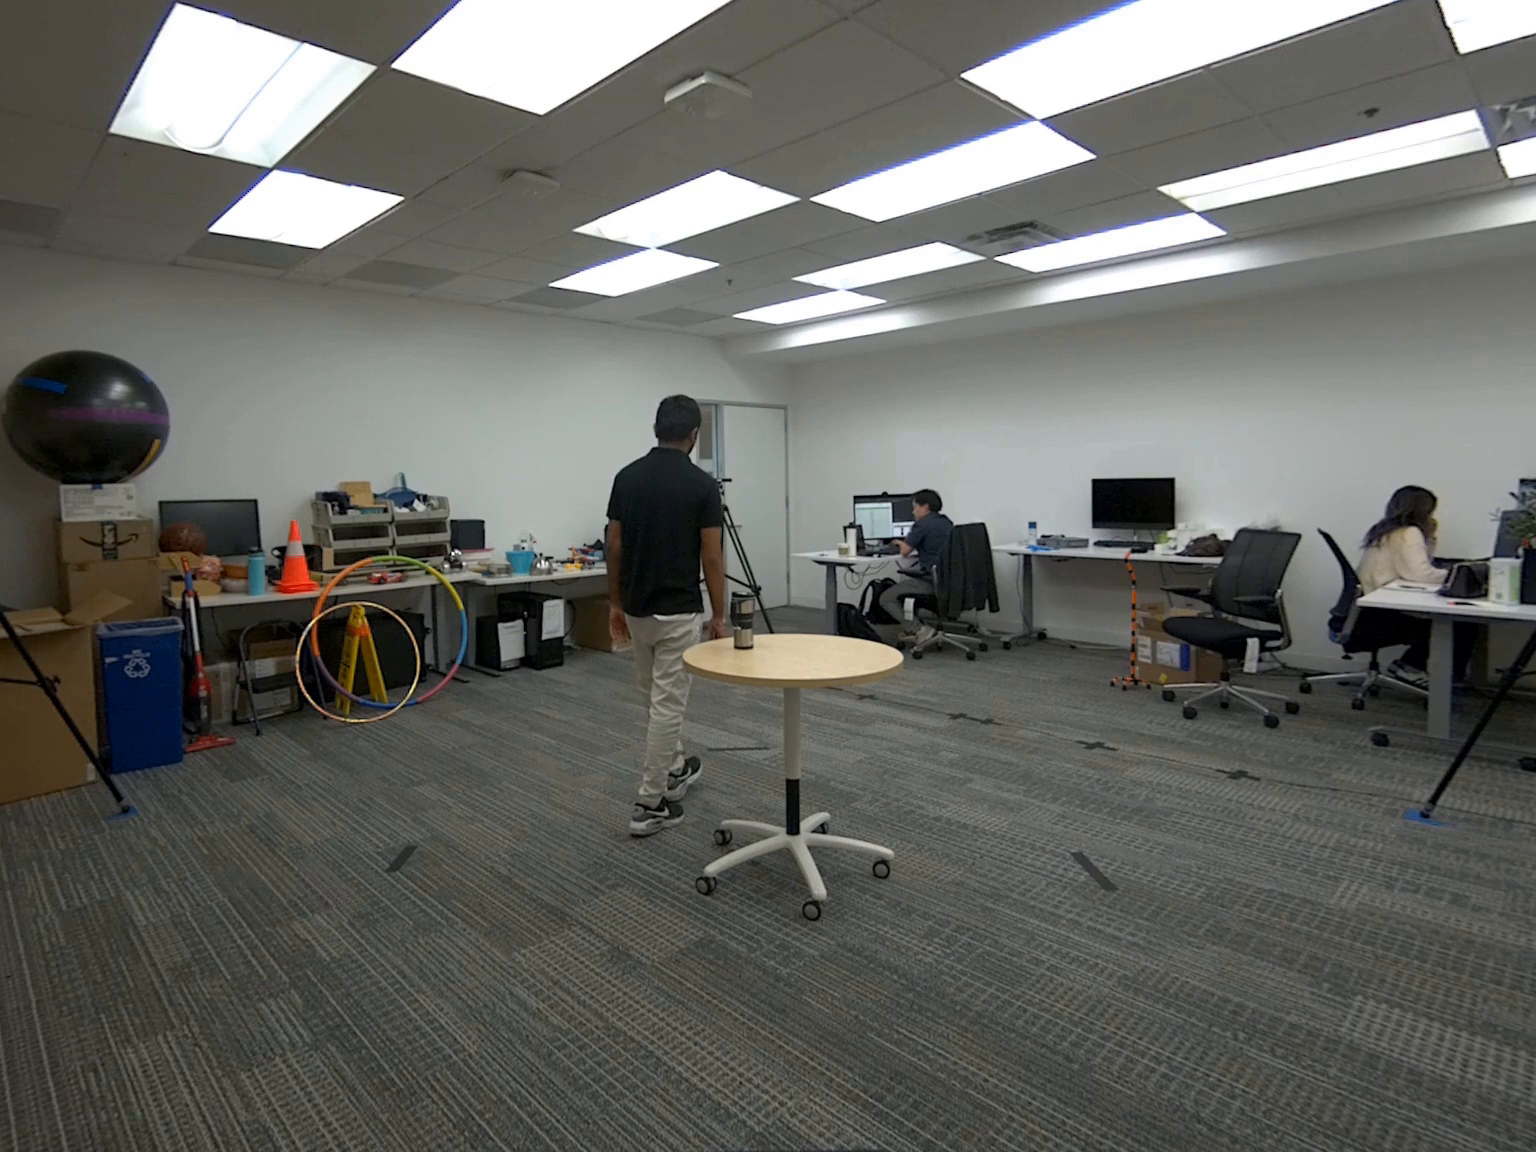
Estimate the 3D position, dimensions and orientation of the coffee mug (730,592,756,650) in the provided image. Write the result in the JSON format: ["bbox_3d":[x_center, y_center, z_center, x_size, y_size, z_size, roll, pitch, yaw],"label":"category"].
[{"bbox_3d":[-0.105,0.160,3.082,0.119,0.202,0.091,-1,7,-34],"label":"coffee mug"}]
